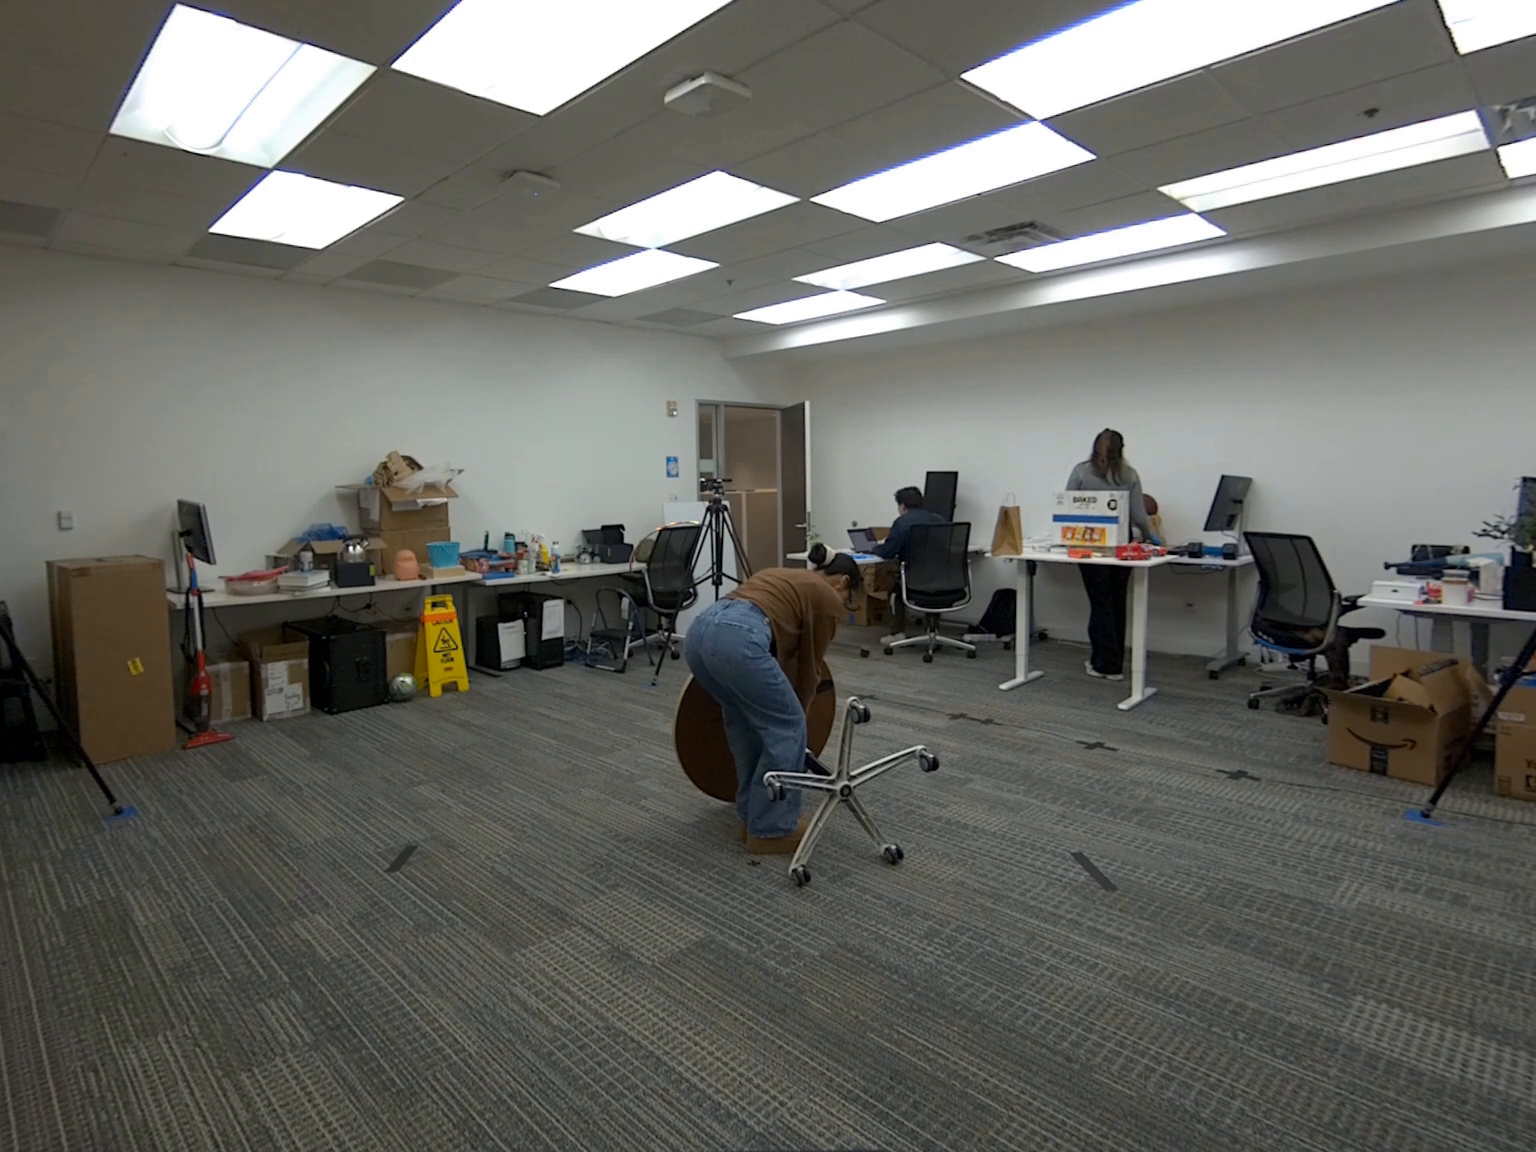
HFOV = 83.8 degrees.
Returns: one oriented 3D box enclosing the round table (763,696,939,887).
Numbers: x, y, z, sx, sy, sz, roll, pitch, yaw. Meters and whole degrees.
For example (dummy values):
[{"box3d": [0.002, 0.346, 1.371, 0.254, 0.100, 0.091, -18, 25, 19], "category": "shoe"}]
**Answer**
[{"box3d": [0.139, 0.687, 3.297, 0.748, 0.757, 0.819, -3, 13, -26], "category": "round table"}]
